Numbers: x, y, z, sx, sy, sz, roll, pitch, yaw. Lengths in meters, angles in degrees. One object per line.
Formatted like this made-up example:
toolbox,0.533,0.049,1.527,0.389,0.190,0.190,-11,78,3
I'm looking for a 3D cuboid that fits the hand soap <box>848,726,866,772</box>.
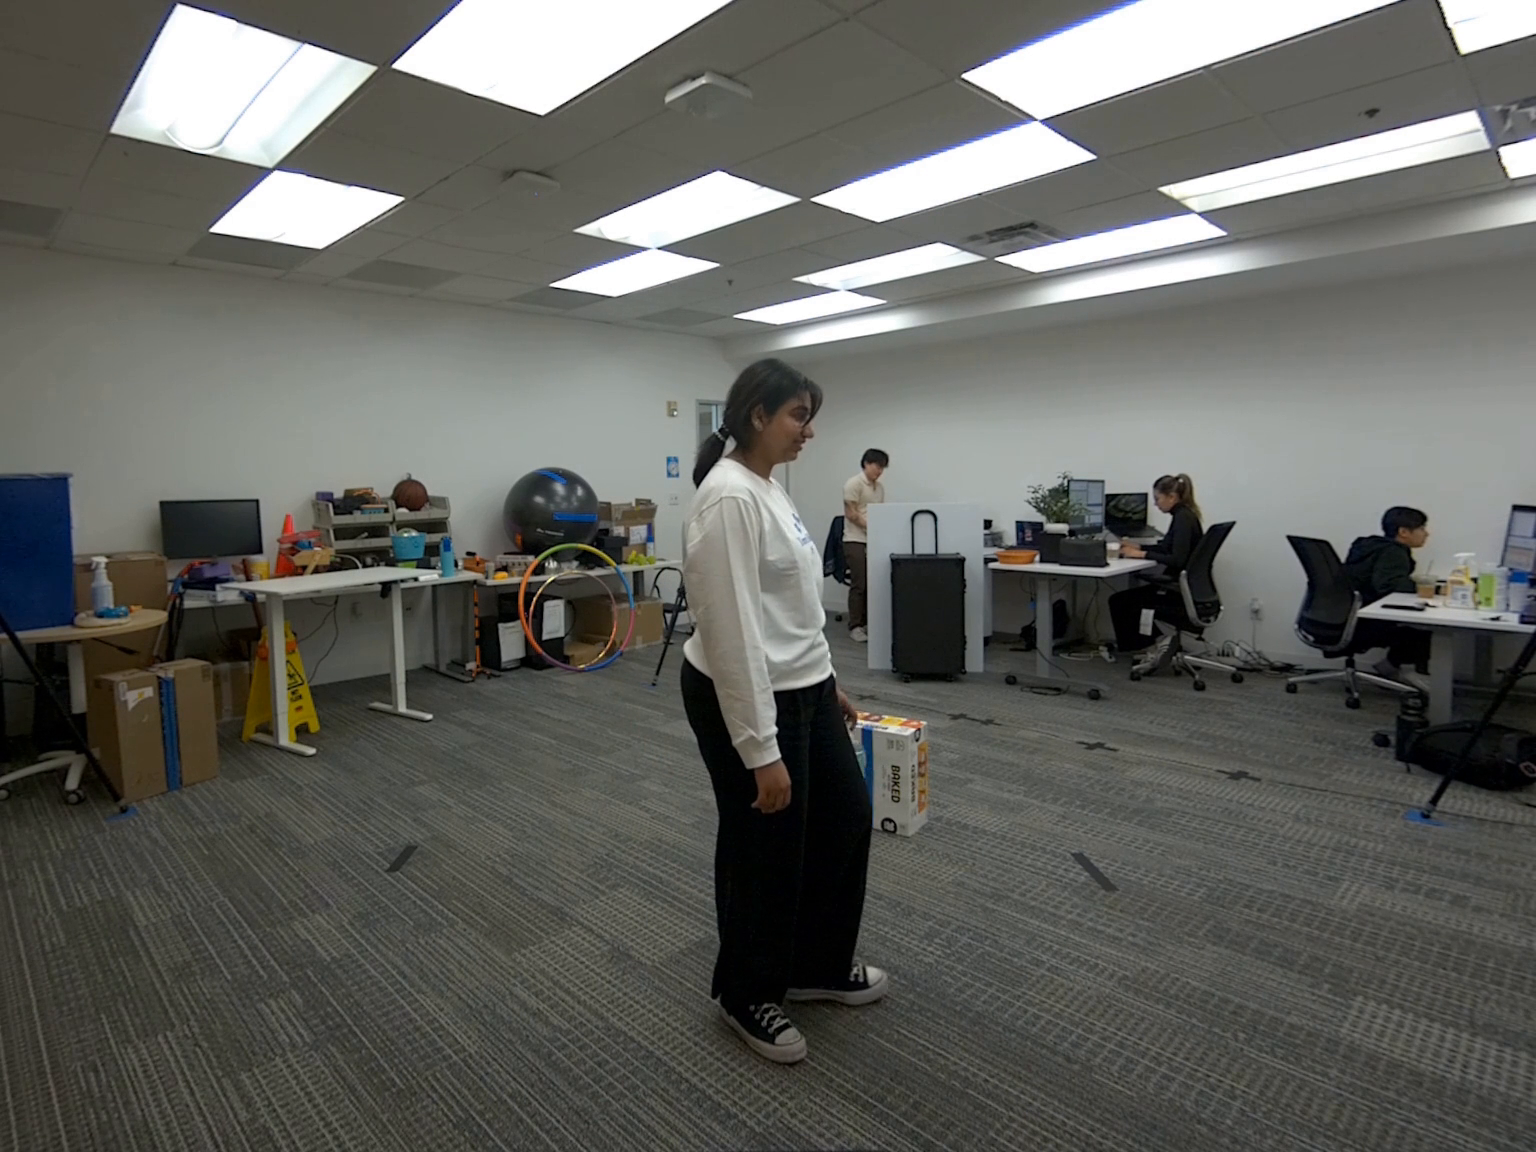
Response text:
hand soap,0.225,0.484,2.352,0.084,0.166,0.044,-7,11,-13
